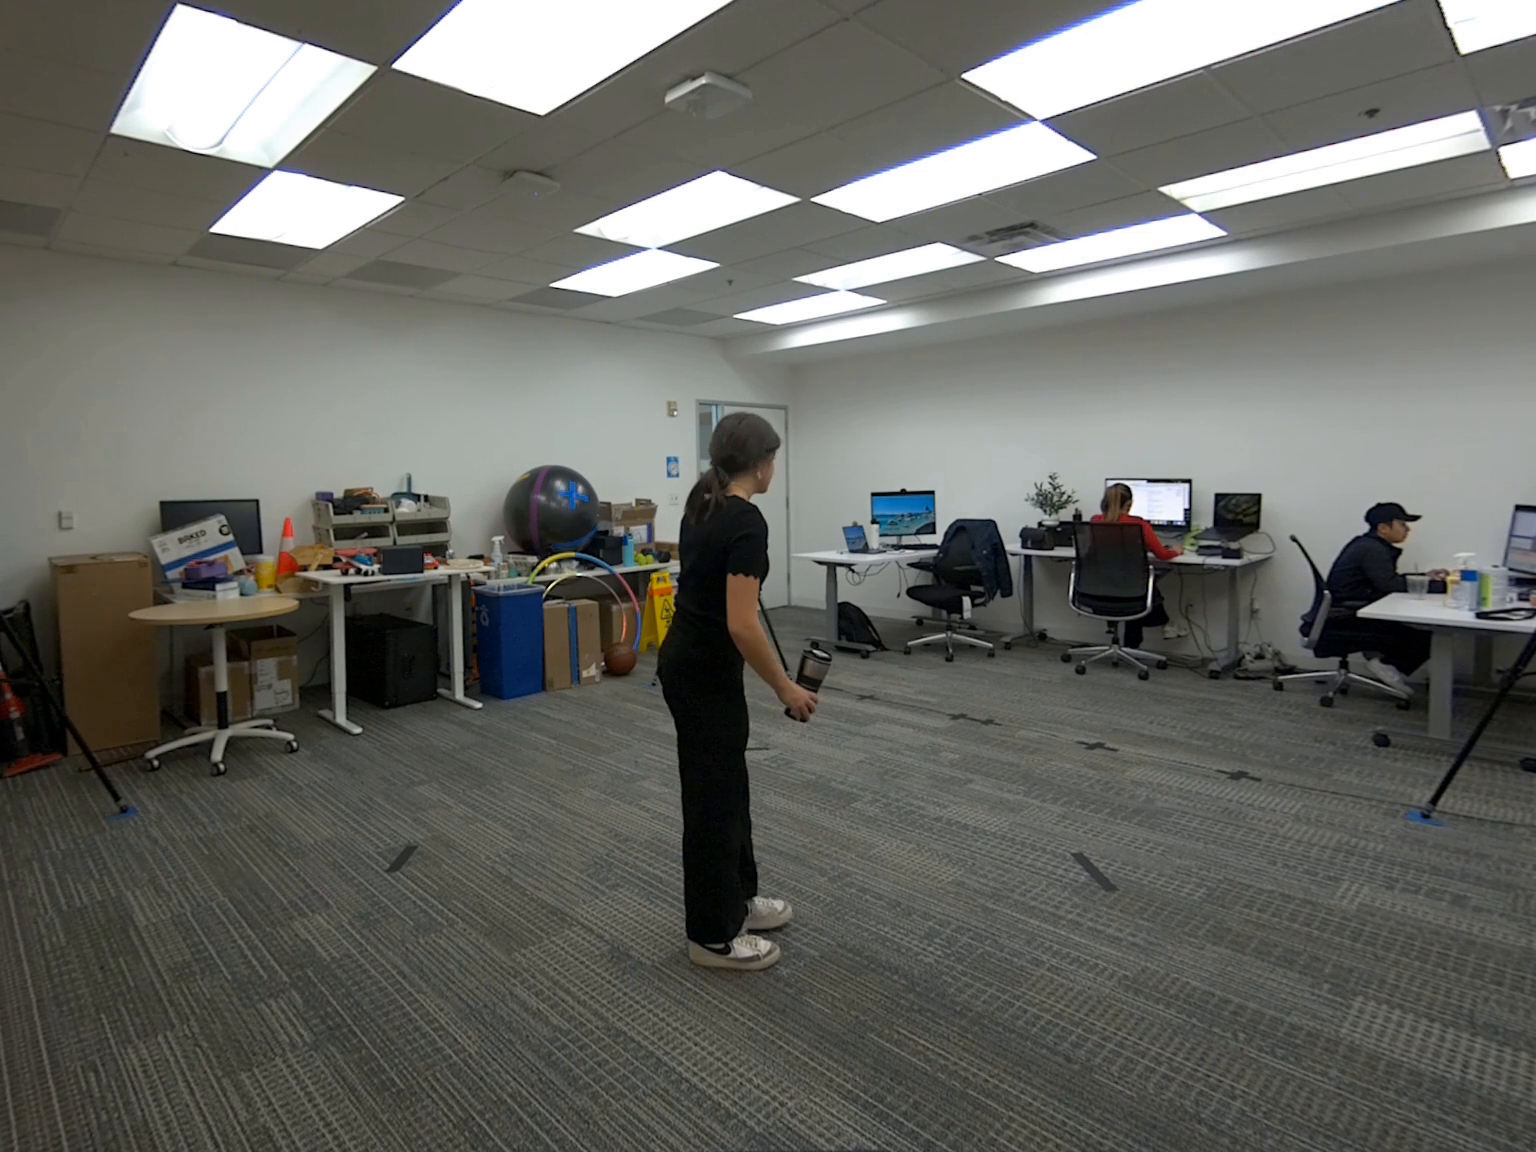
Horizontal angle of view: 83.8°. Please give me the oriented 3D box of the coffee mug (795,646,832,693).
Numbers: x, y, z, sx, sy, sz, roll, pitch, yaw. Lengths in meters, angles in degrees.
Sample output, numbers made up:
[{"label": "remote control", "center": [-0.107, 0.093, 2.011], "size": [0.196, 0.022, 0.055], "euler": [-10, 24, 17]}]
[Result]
[{"label": "coffee mug", "center": [0.117, 0.311, 2.455], "size": [0.090, 0.202, 0.119], "euler": [18, 7, 23]}]
